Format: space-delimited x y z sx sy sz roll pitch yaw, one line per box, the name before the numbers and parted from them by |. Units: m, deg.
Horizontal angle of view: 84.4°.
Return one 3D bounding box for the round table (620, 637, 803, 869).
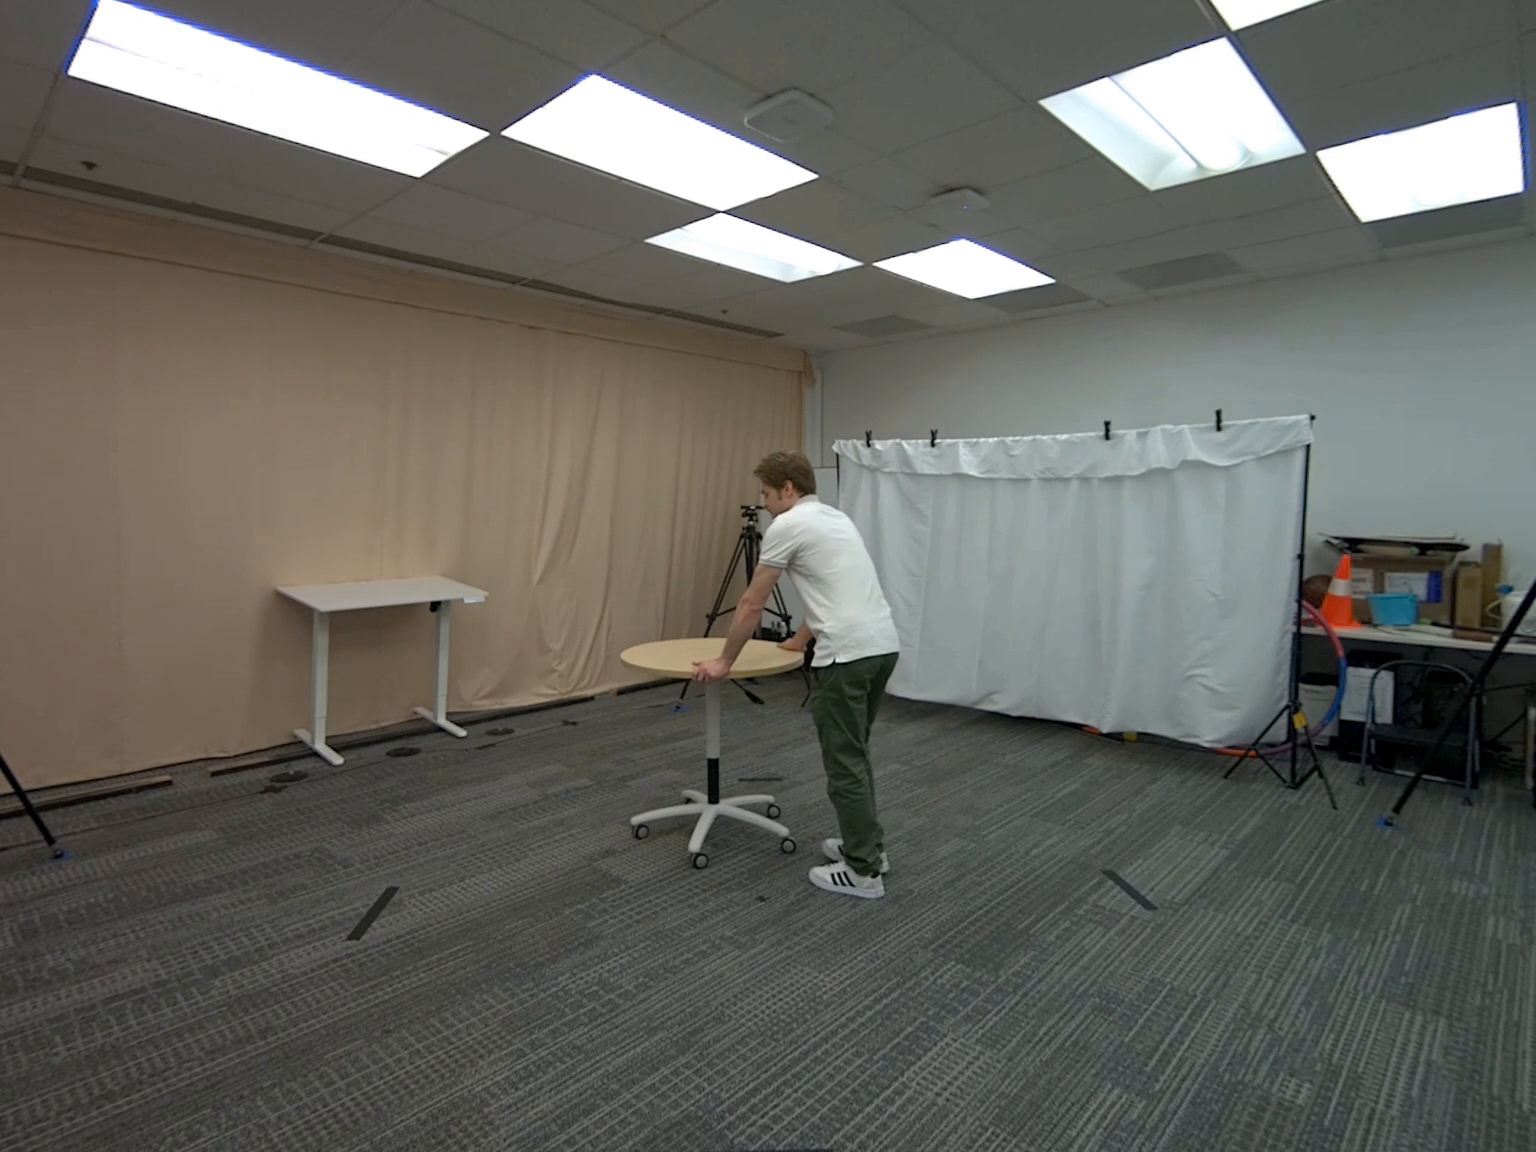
round table | -0.227 0.714 3.546 0.763 0.792 0.766 0 3 -2
